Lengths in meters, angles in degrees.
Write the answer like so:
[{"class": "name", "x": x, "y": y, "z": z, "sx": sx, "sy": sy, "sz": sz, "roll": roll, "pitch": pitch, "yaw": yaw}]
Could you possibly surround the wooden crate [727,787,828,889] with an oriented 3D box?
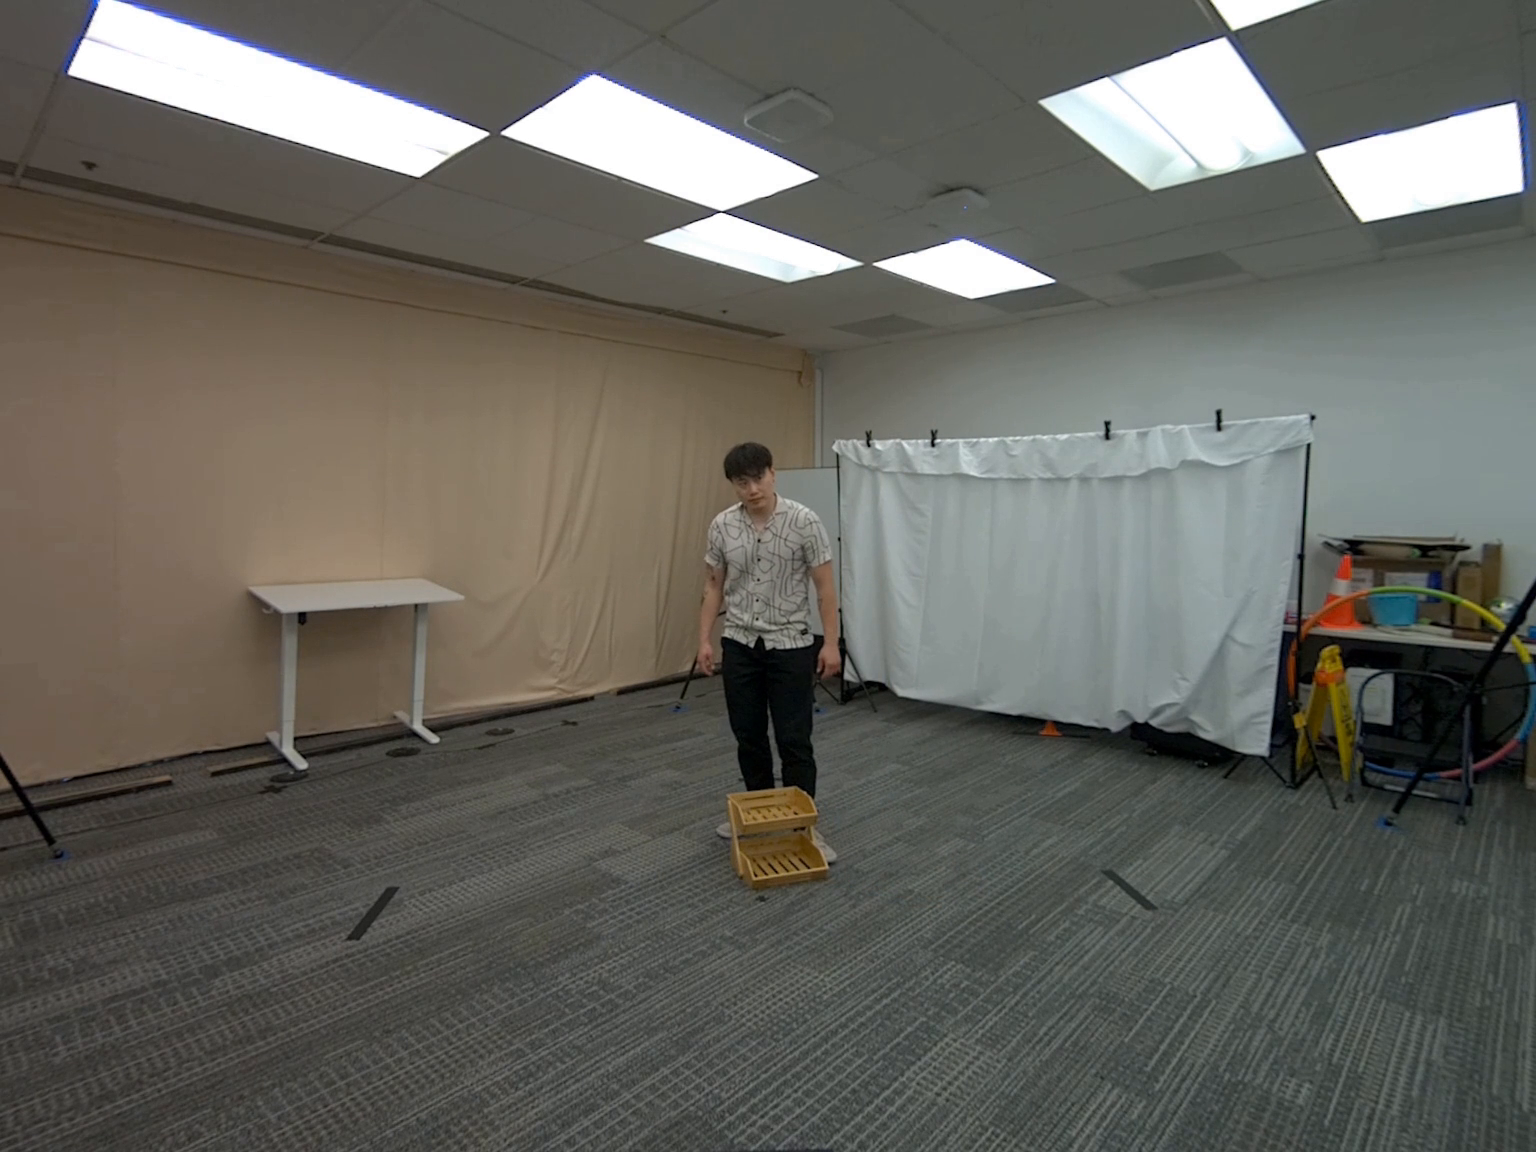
[{"class": "wooden crate", "x": 0.036, "y": 0.987, "z": 3.212, "sx": 0.318, "sy": 0.273, "sz": 0.308, "roll": -2, "pitch": 3, "yaw": -20}]
